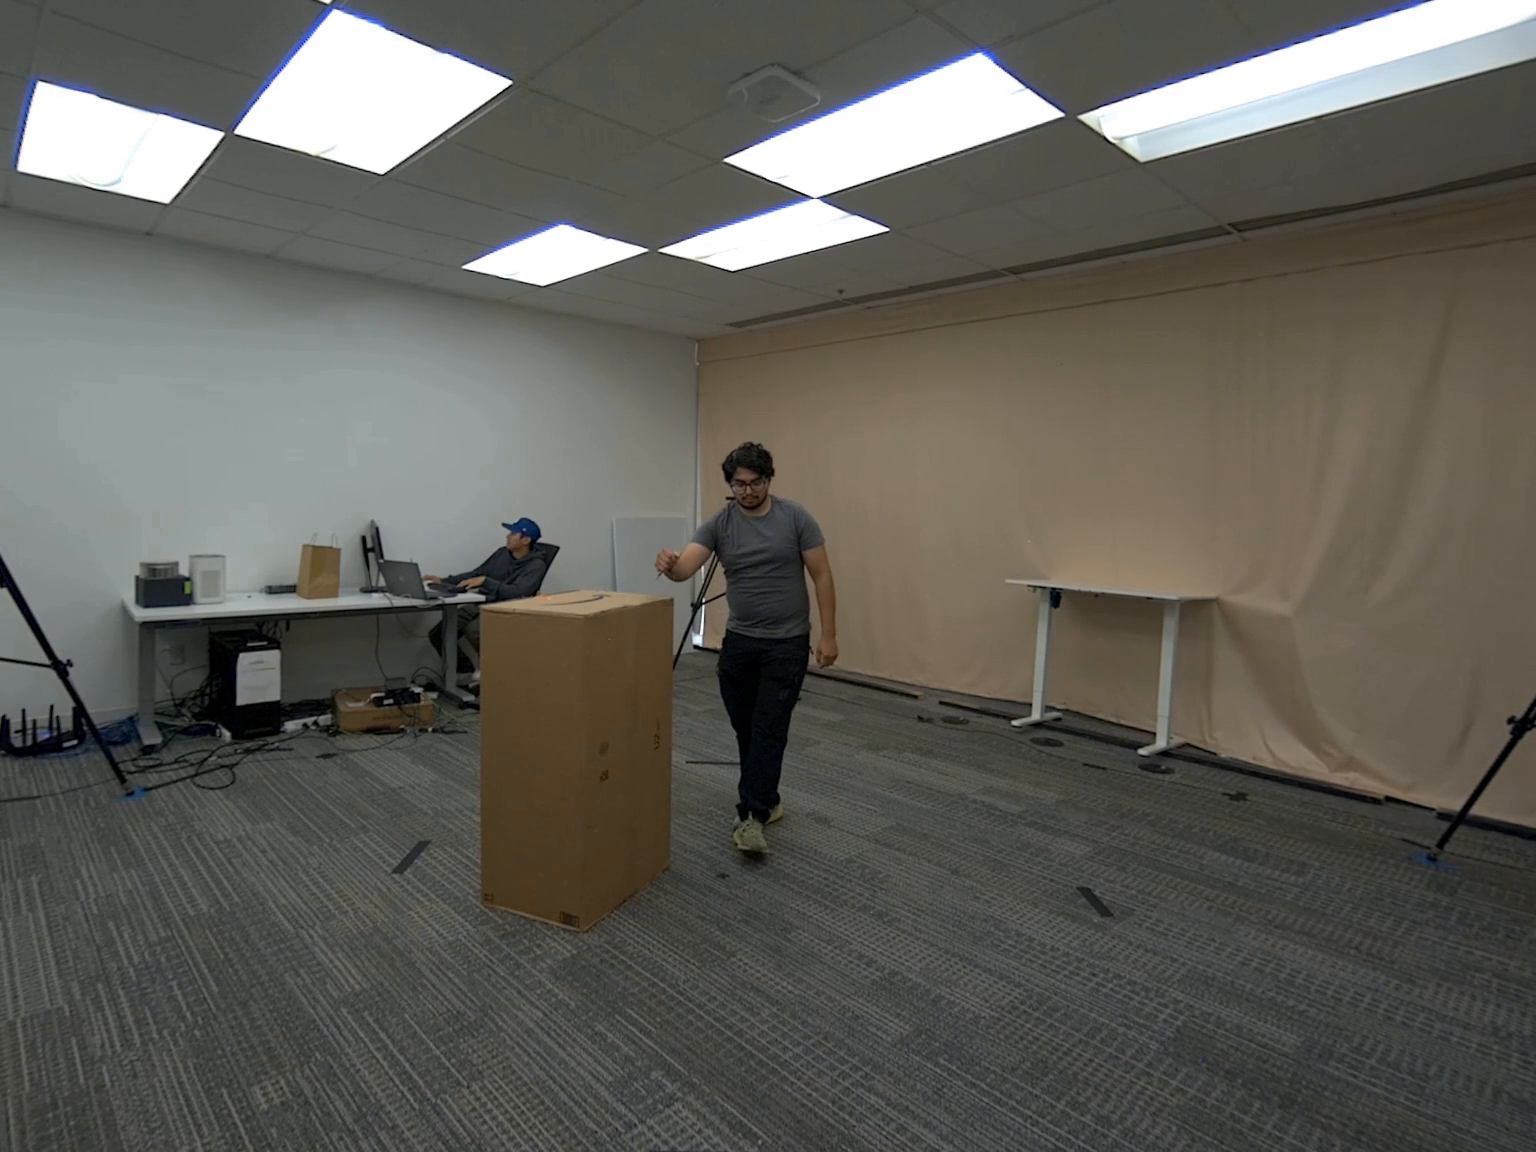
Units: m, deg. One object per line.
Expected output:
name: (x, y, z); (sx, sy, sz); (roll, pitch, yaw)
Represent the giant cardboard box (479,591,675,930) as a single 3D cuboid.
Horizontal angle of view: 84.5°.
giant cardboard box: (-0.670, 0.597, 2.987); (0.434, 1.023, 0.568); (3, 4, 25)
